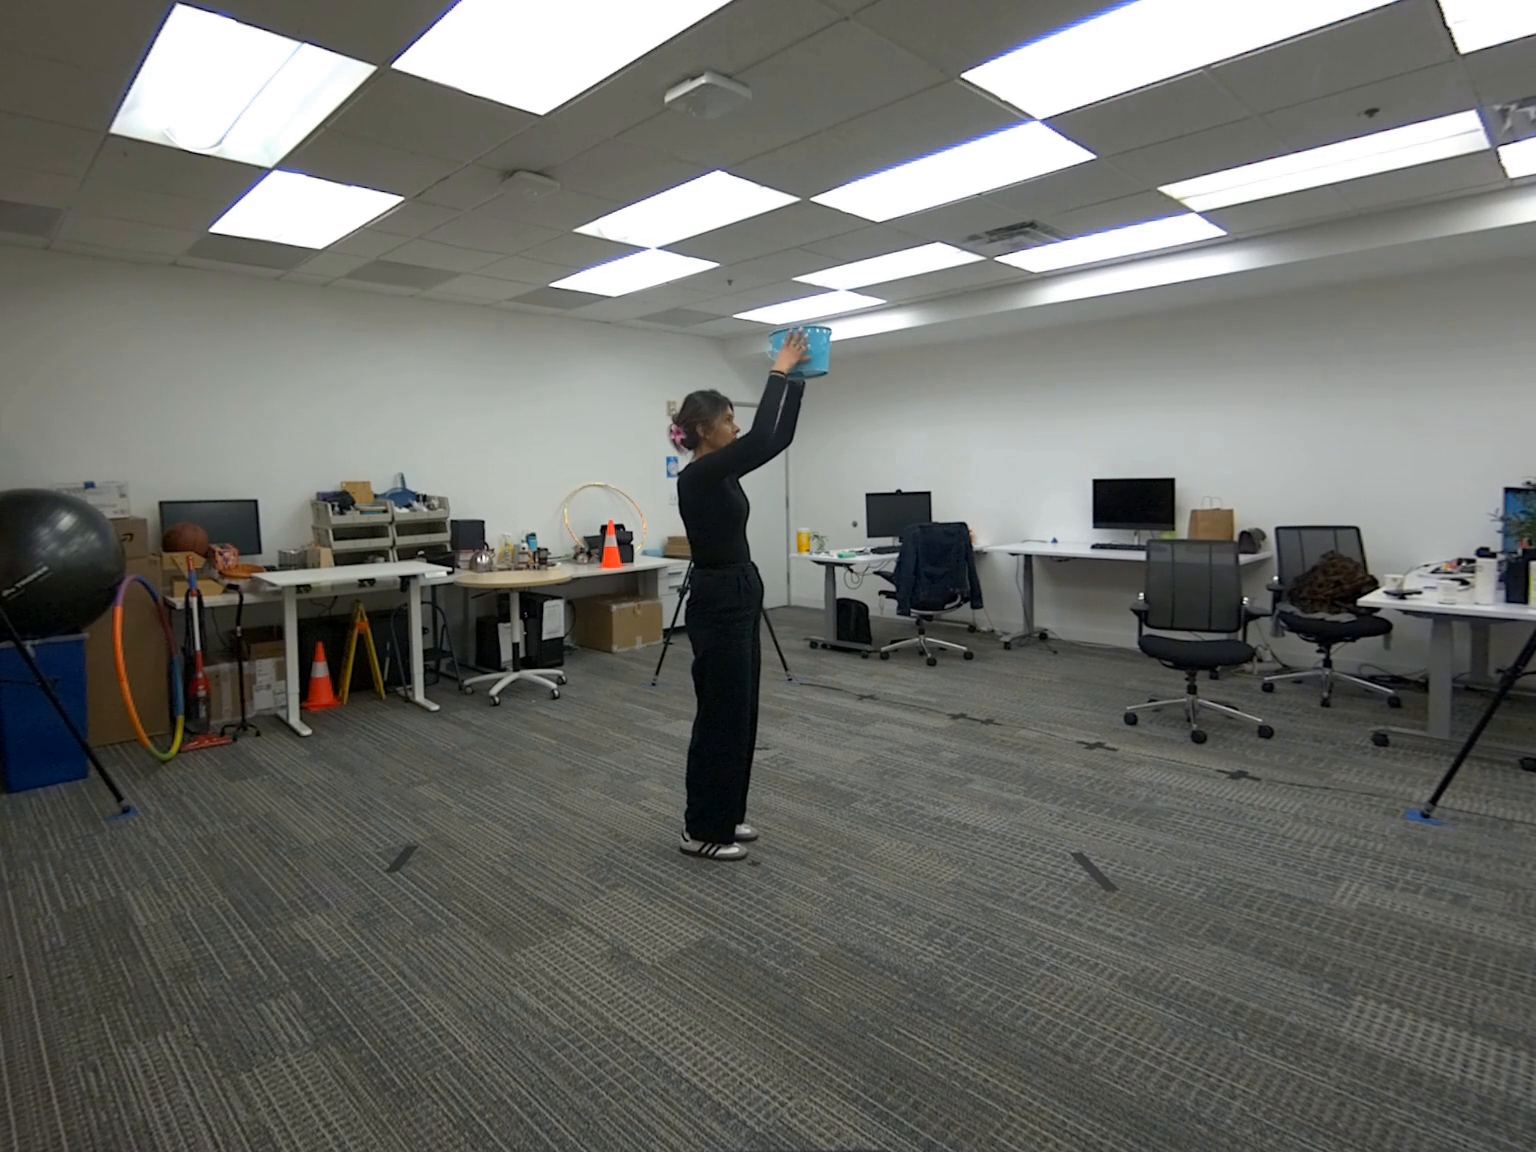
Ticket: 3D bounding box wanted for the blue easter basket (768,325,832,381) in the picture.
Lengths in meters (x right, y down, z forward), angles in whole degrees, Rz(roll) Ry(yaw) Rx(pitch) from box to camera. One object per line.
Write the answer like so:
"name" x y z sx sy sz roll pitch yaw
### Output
"blue easter basket" 0.124 -0.792 3.075 0.243 0.156 0.244 -3 3 -2
